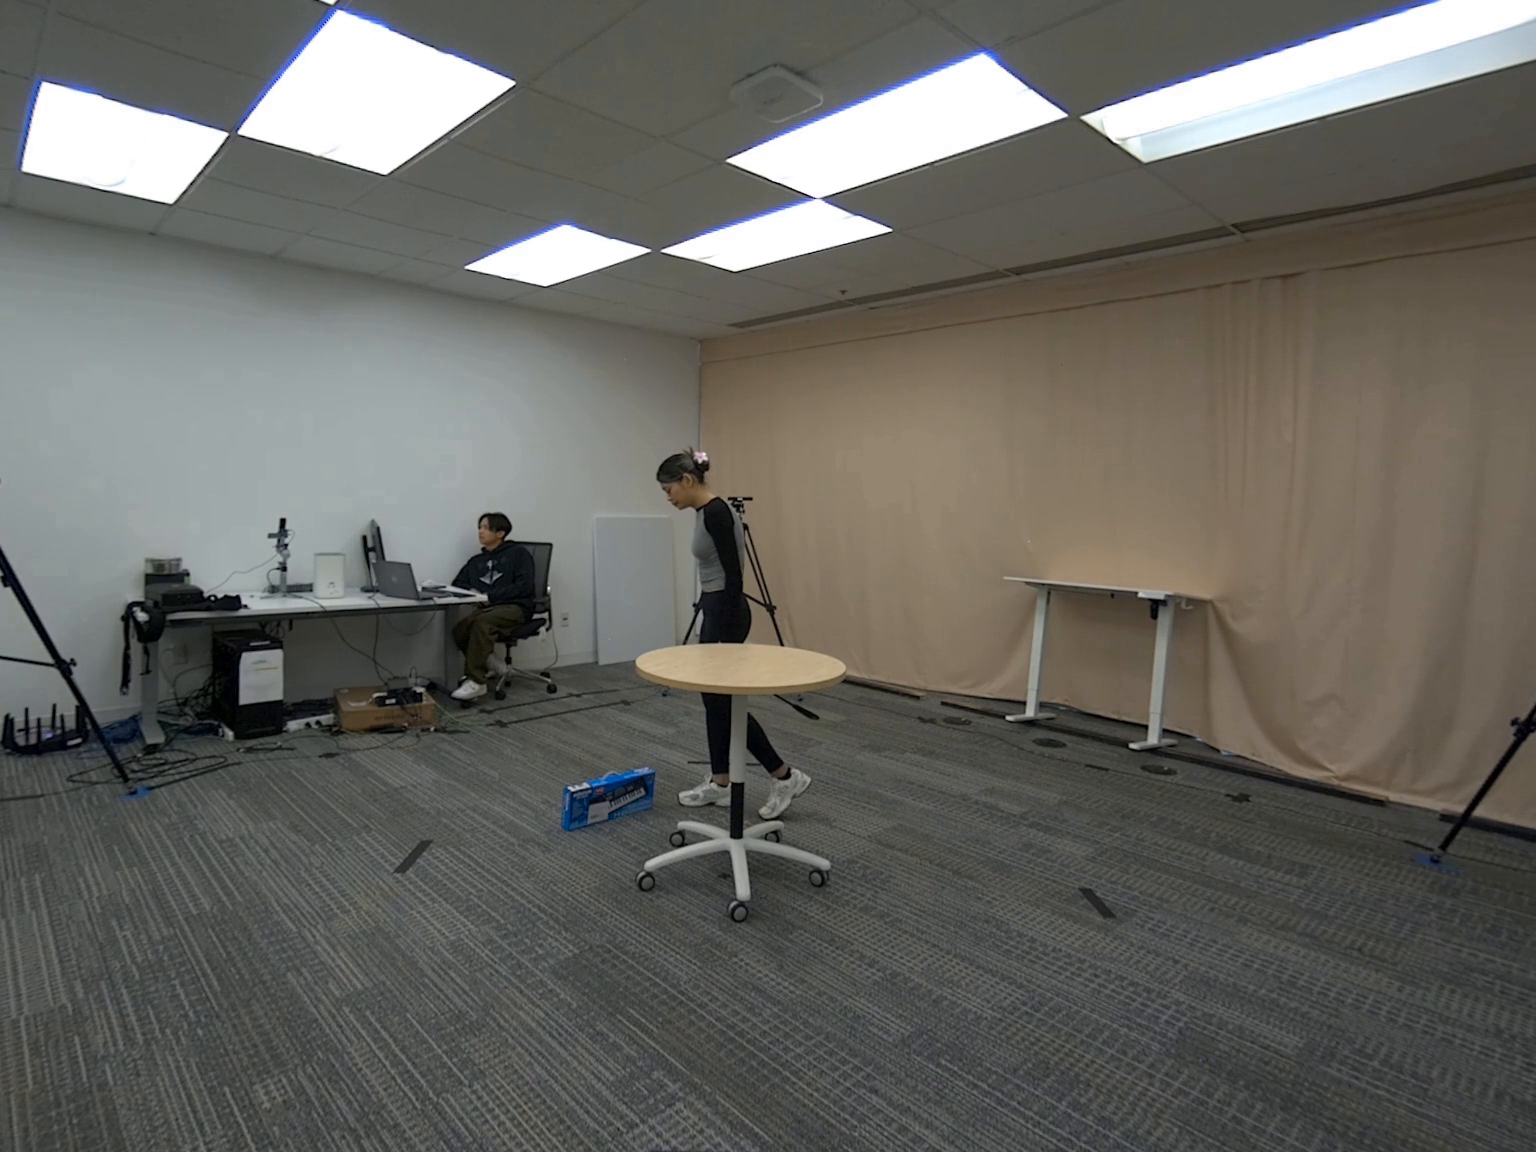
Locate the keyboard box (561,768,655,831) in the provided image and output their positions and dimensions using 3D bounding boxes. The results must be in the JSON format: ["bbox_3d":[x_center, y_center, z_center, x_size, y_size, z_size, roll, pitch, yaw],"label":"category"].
[{"bbox_3d":[-0.694,0.962,3.637,0.427,0.175,0.061,-3,11,-44],"label":"keyboard box"}]
